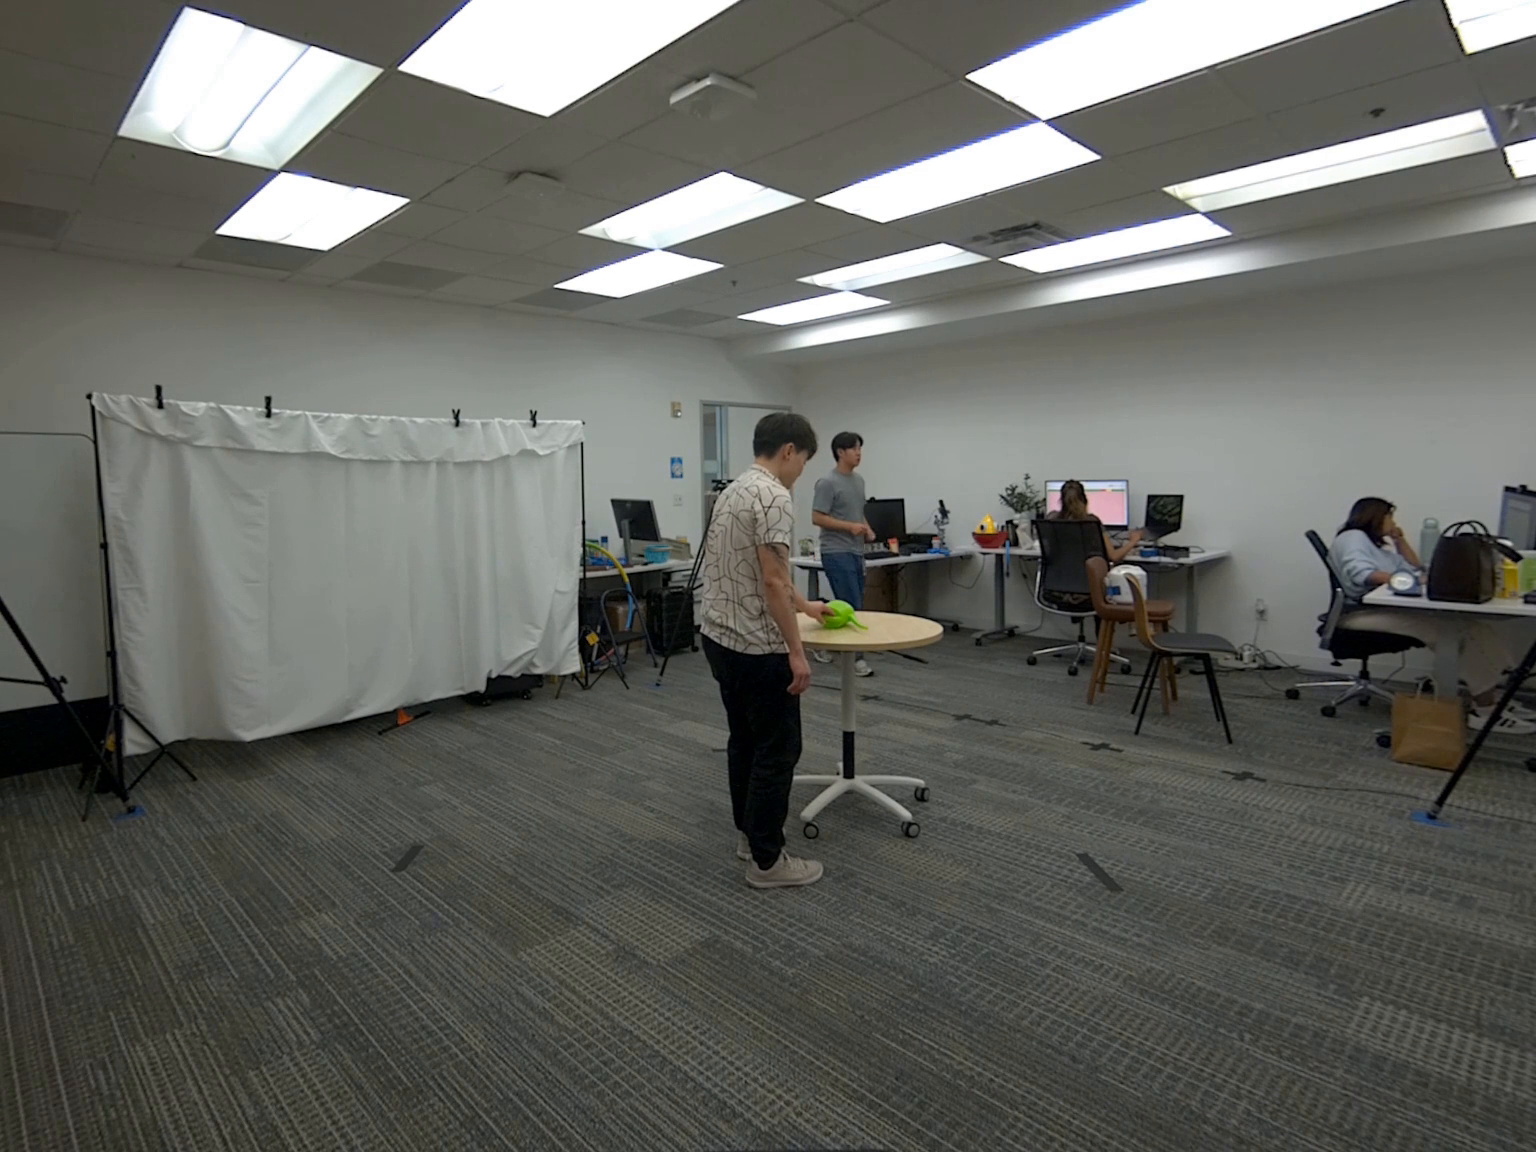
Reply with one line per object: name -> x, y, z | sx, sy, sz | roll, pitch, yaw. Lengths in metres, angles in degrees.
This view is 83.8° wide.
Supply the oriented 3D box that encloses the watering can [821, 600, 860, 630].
watering can -> 0.304, 0.181, 3.520 | 0.287, 0.097, 0.173 | 25, 18, 26
